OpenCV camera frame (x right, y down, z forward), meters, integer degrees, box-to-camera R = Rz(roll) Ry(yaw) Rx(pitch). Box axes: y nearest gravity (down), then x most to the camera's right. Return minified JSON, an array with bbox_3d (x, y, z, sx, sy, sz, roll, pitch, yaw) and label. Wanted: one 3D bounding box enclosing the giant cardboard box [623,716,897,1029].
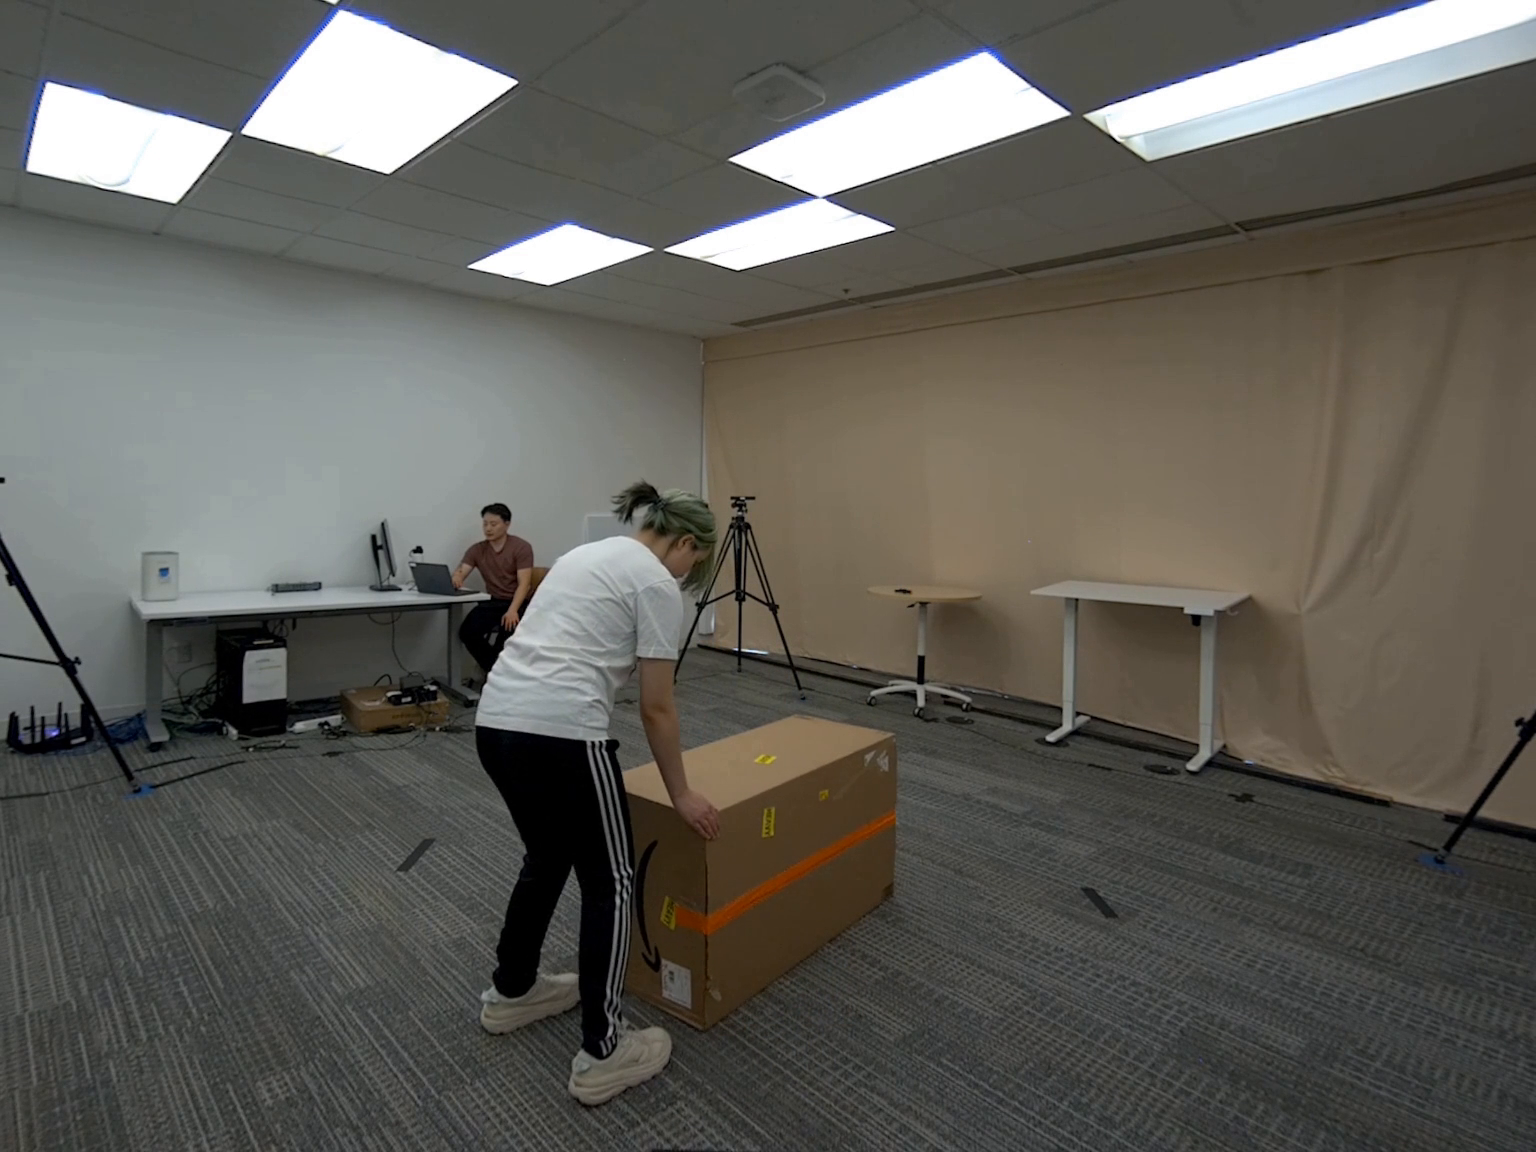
[{"bbox_3d":[-0.032,0.859,2.688,0.458,0.582,1.005,5,6,37],"label":"giant cardboard box"}]
